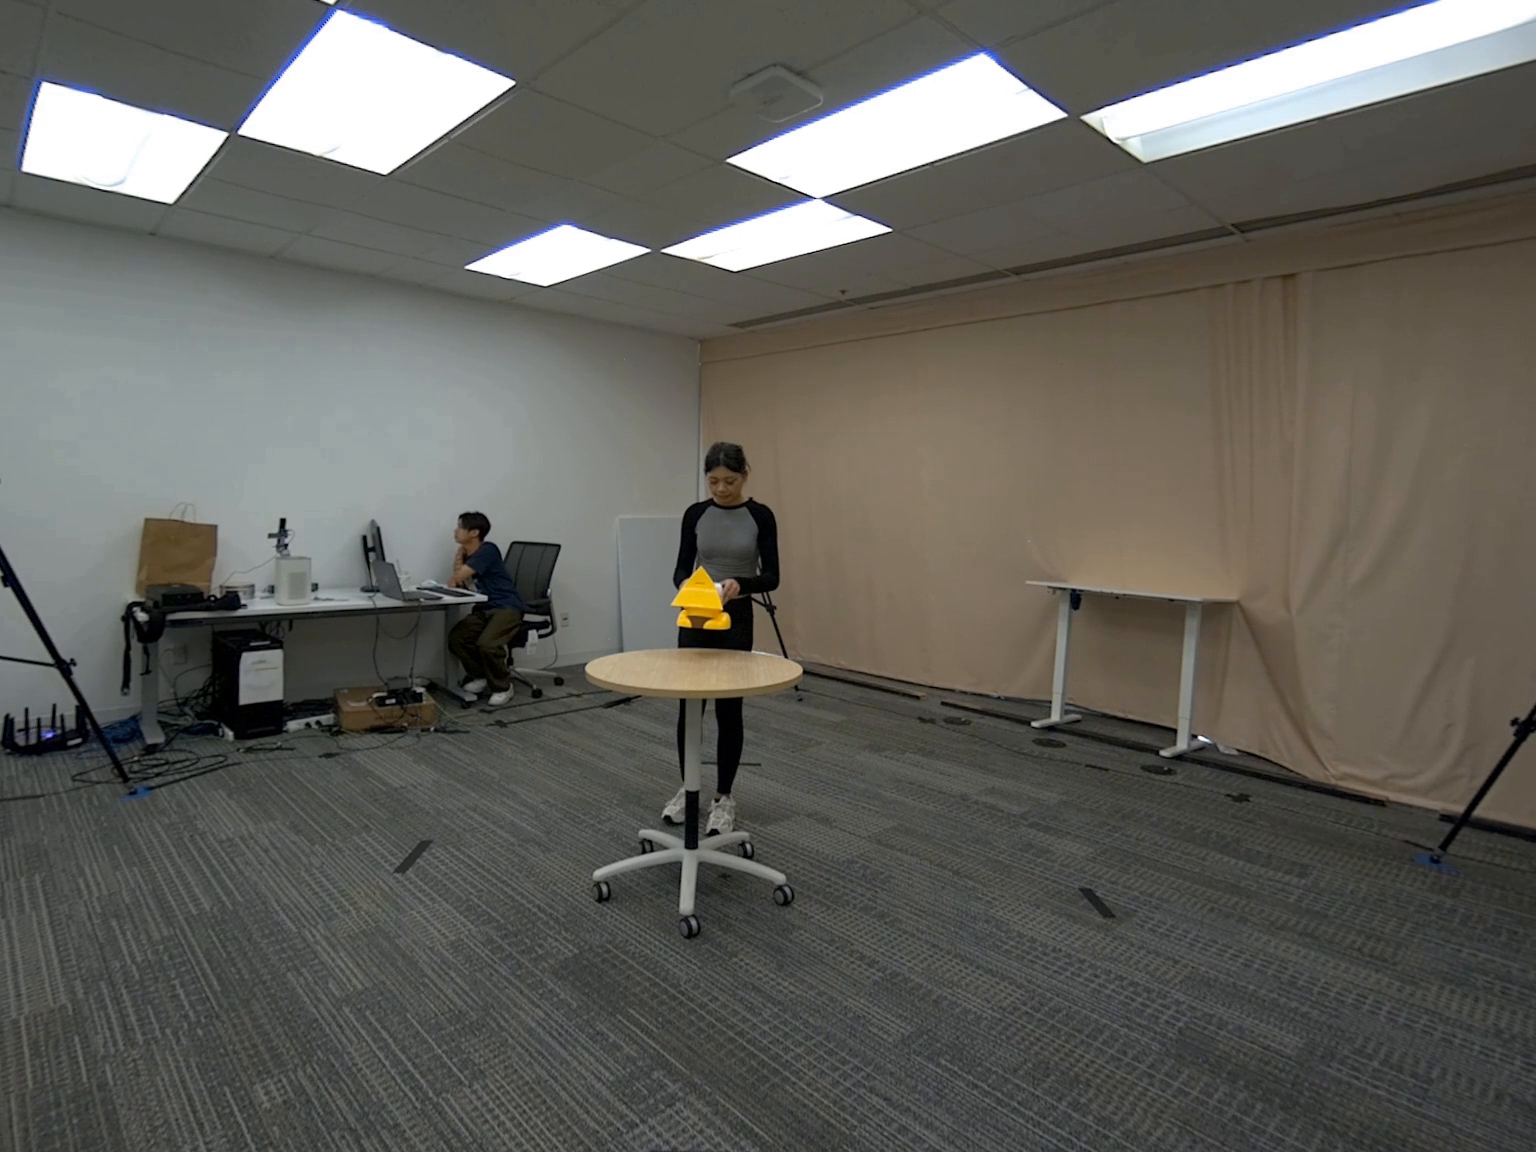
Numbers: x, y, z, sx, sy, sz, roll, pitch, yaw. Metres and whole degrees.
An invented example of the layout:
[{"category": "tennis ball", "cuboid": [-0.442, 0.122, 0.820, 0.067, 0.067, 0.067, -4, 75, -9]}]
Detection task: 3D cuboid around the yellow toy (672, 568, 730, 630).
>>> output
[{"category": "yellow toy", "cuboid": [-0.249, 0.078, 3.198, 0.208, 0.230, 0.190, 4, 2, 17]}]
